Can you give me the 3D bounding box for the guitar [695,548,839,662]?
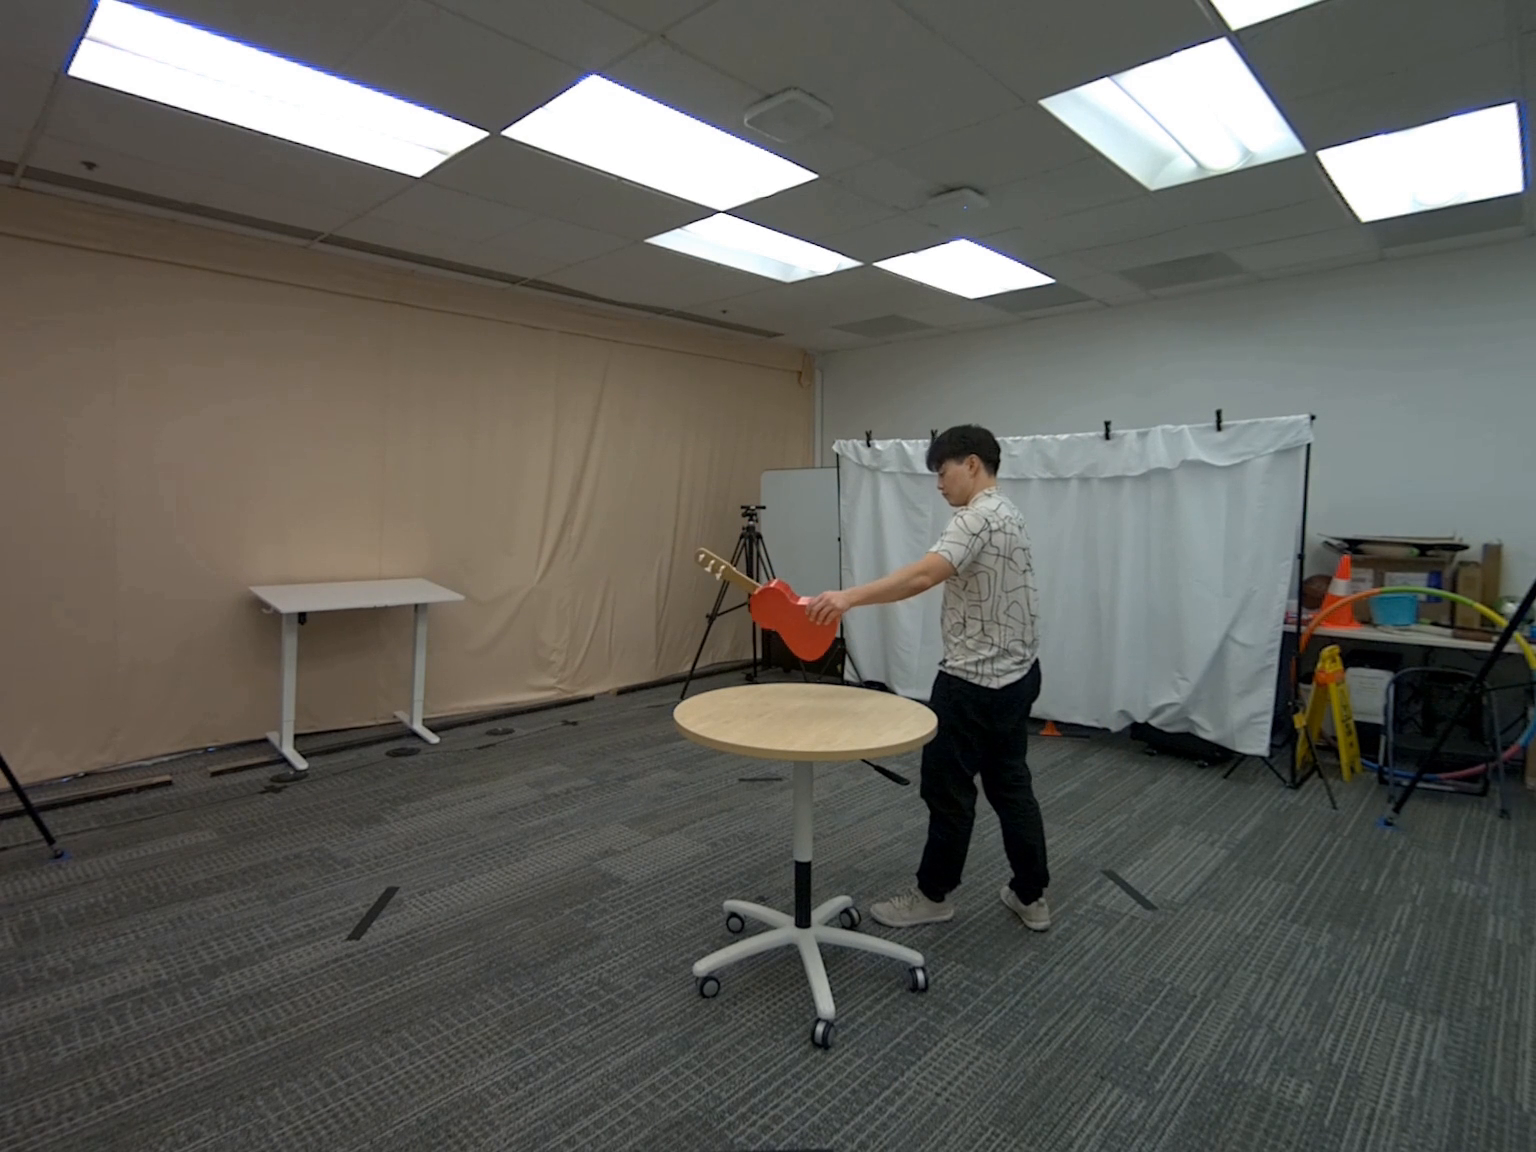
[{"bbox_3d":[-0.016,0.092,2.599,0.505,0.192,0.070,24,25,12],"label":"guitar"}]
